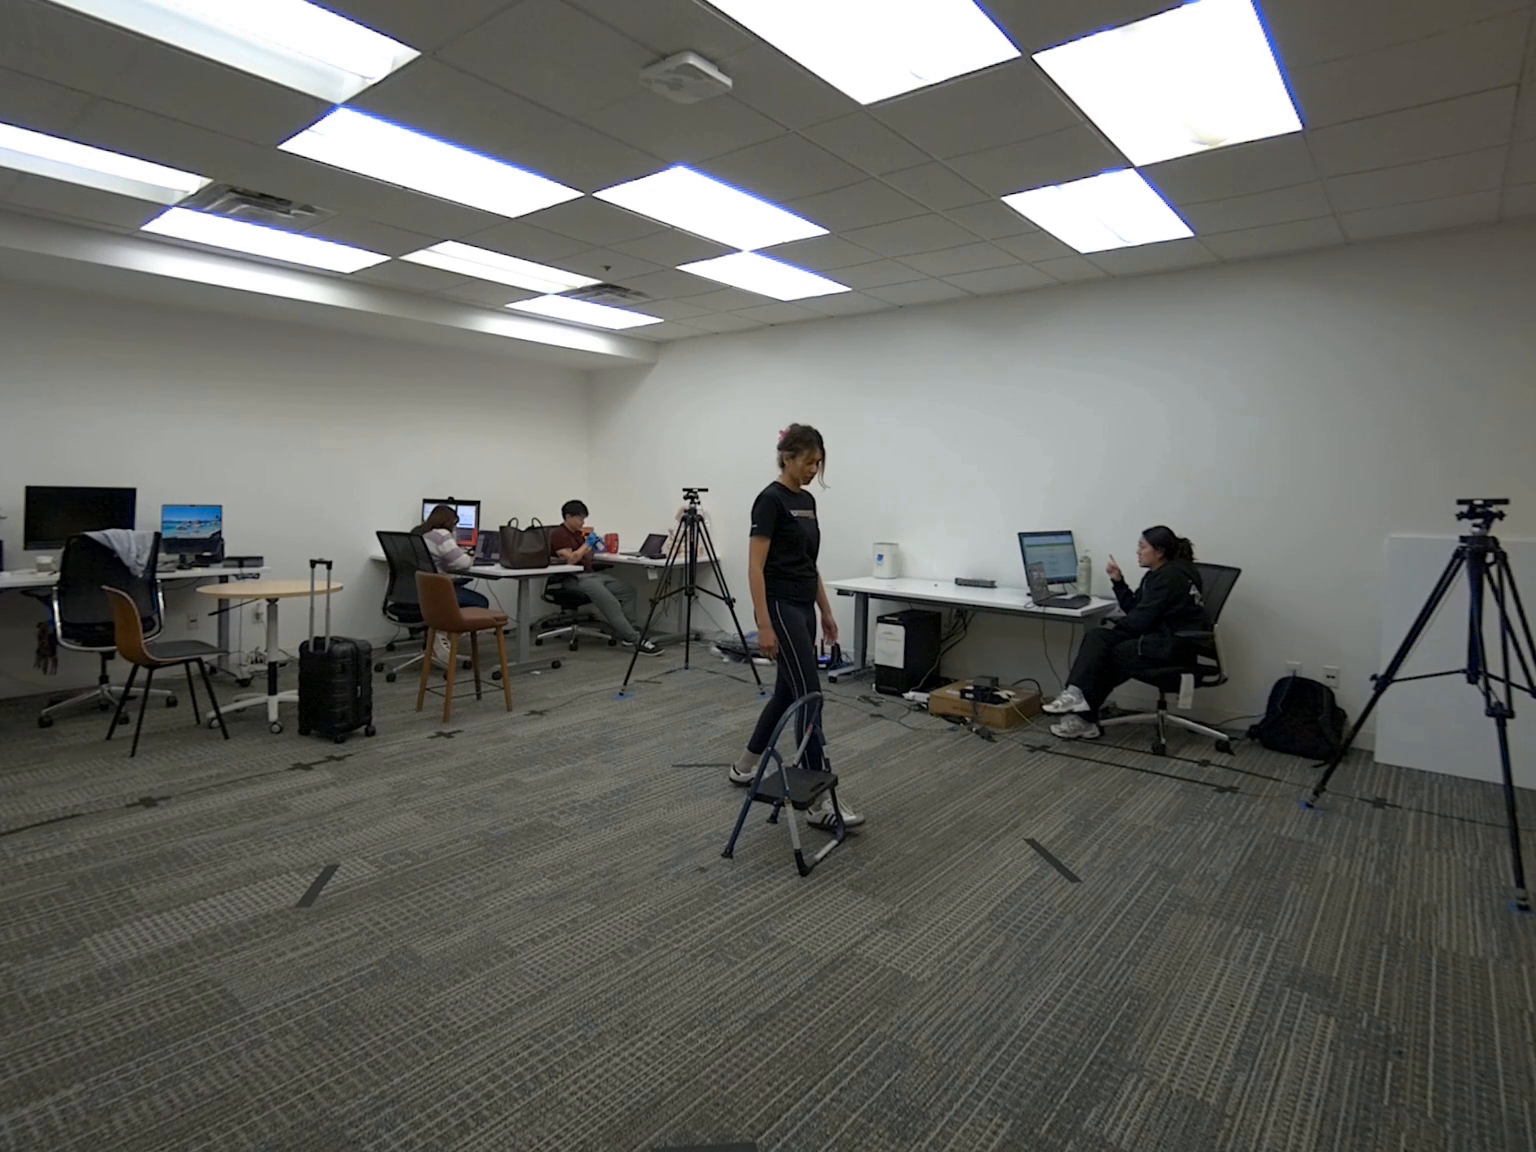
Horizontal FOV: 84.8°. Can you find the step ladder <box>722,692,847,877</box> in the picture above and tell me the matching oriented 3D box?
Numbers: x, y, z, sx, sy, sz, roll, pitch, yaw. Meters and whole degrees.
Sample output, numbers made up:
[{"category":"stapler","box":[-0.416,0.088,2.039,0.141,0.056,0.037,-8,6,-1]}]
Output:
[{"category":"step ladder","box":[0.067,0.753,3.309,0.359,0.604,0.420,2,4,26]}]
